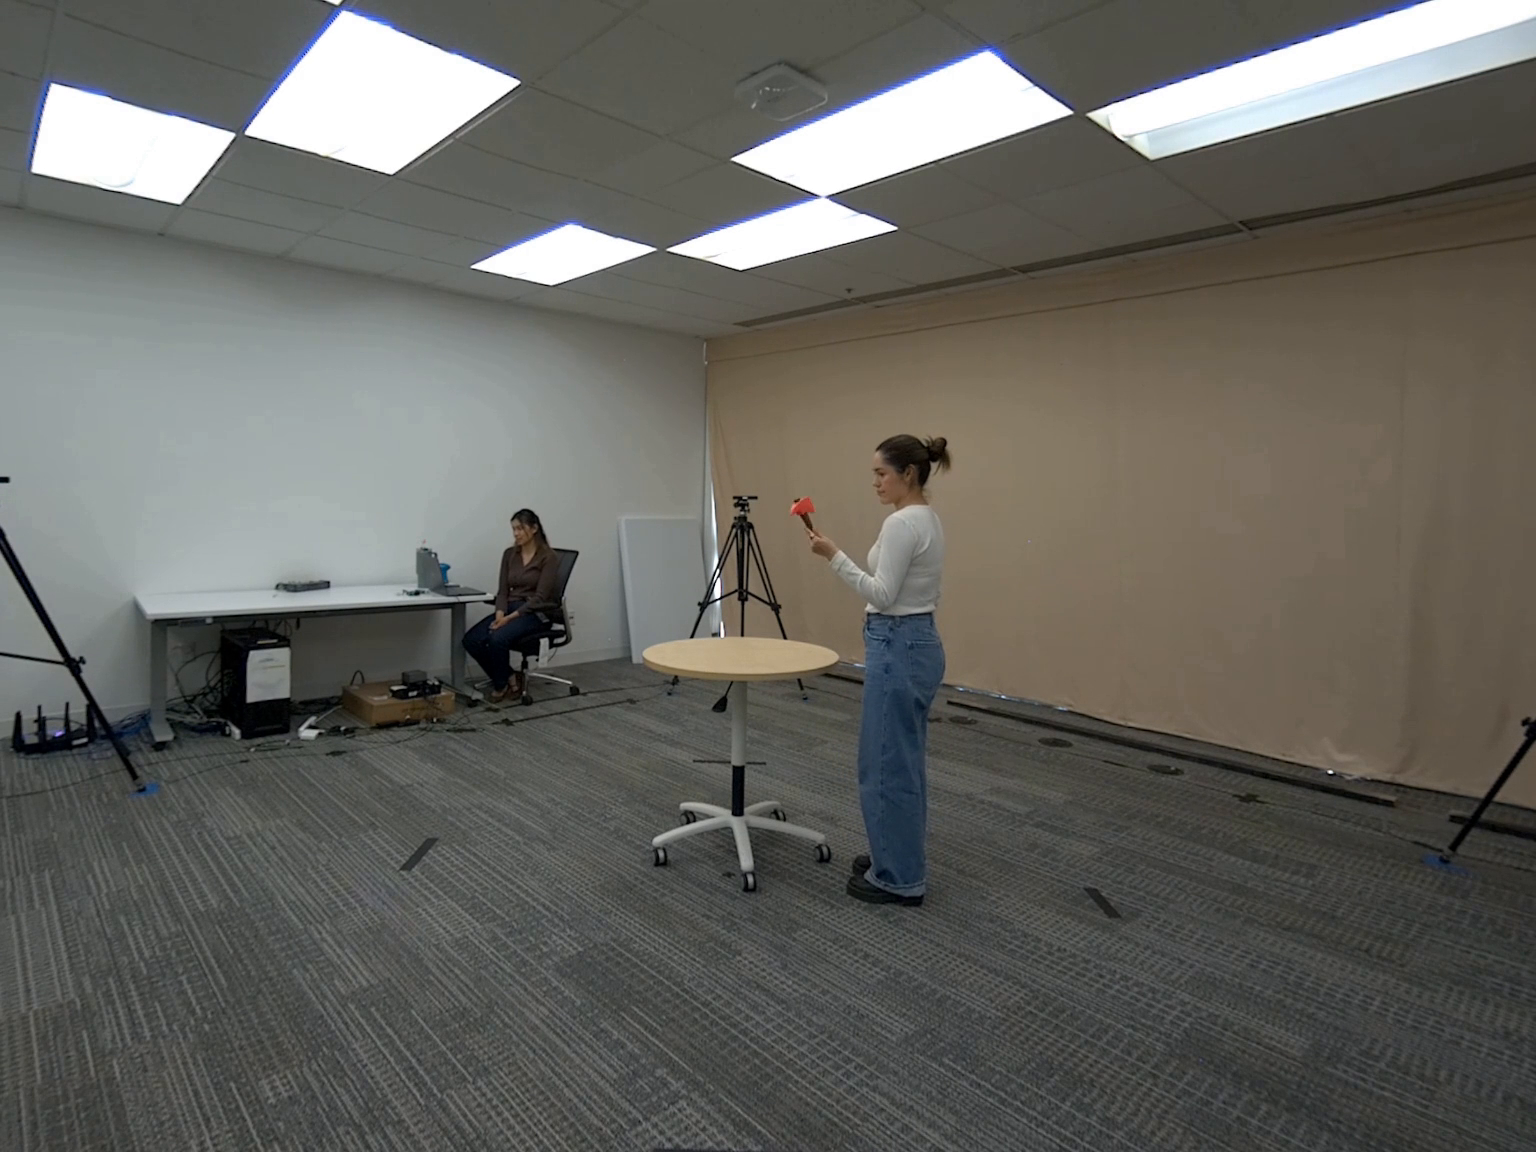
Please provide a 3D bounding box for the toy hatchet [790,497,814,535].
[{"bbox_3d":[0.171,-0.169,2.907,0.030,0.263,0.132,-20,33,38],"label":"toy hatchet"}]
